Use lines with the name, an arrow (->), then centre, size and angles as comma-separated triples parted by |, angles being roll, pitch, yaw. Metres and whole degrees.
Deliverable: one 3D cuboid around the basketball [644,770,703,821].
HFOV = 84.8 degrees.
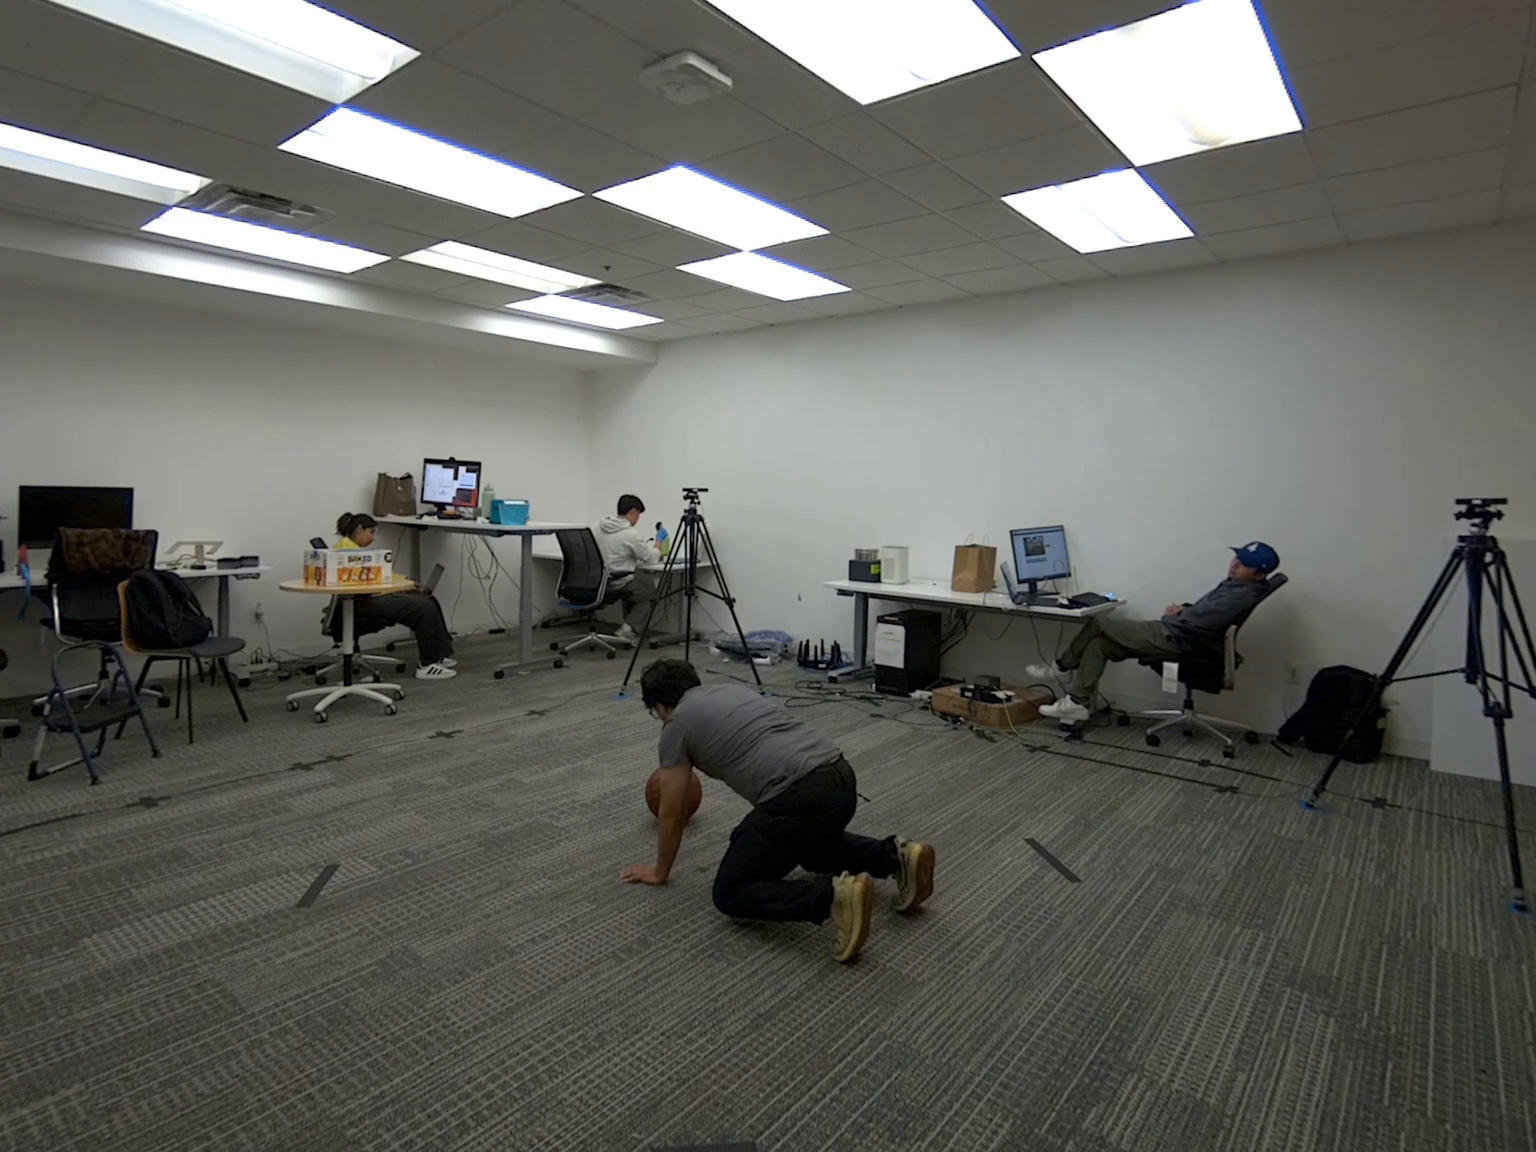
basketball -> -0.405, 0.903, 3.560 | 0.235, 0.235, 0.237 | 1, 4, -2
